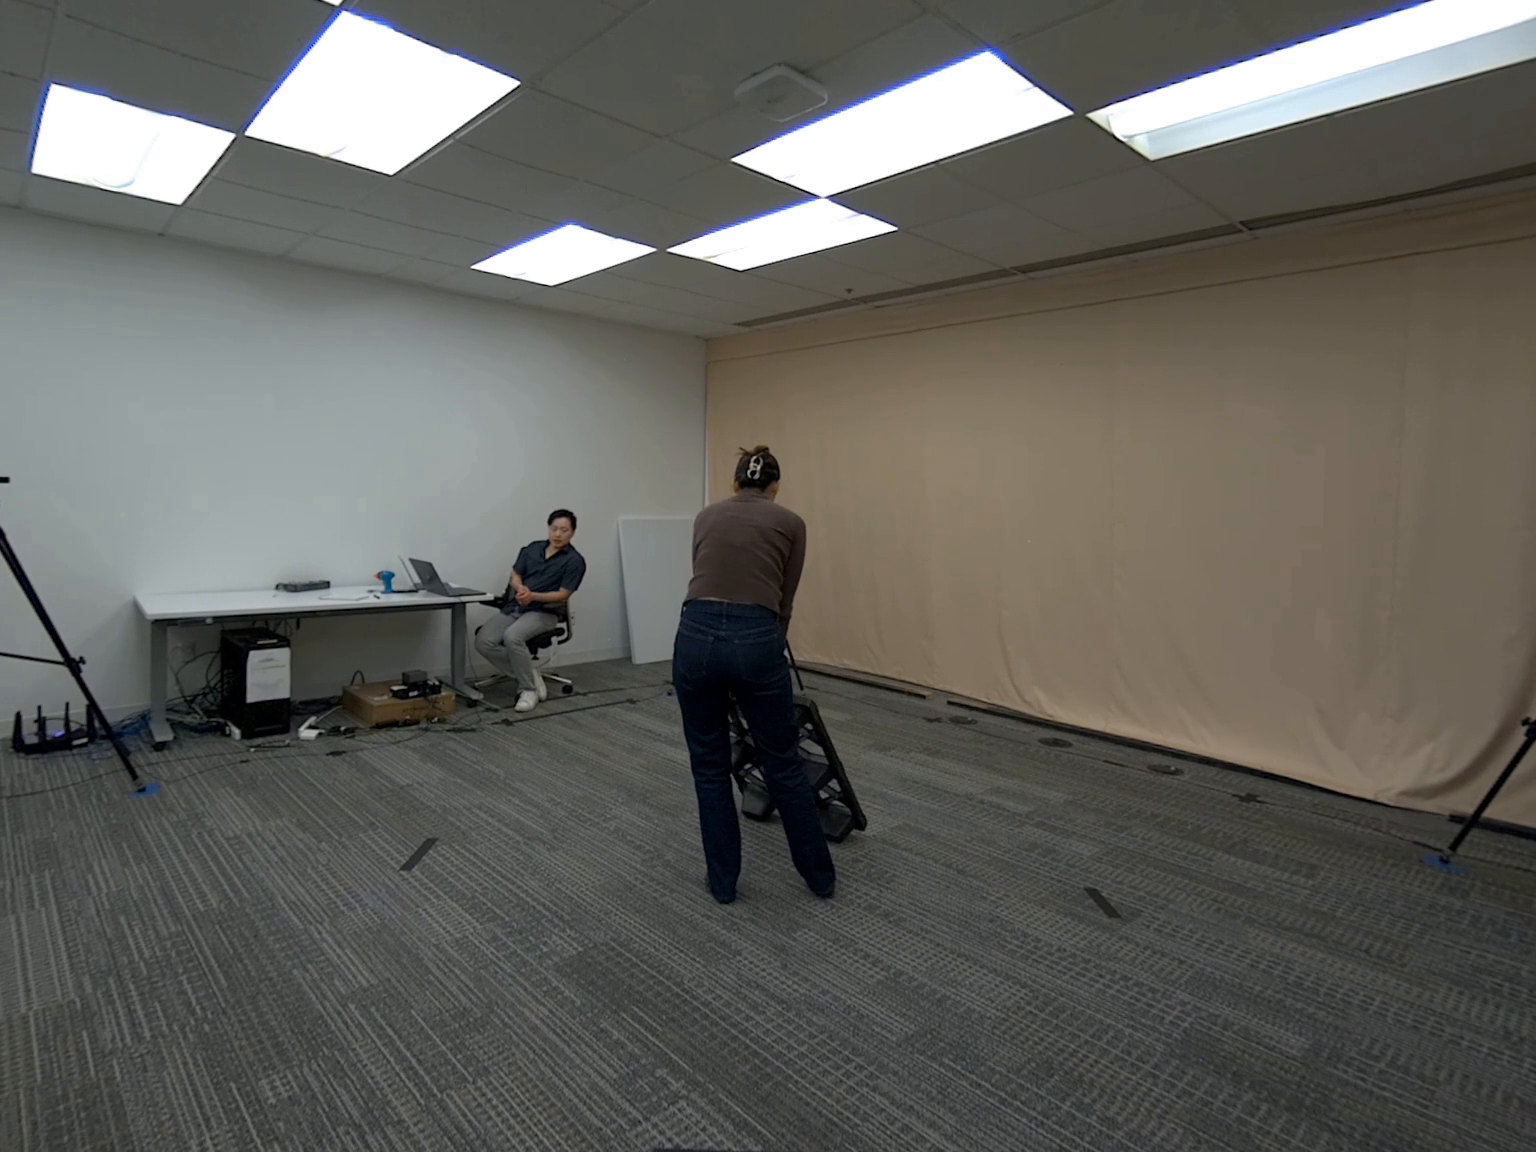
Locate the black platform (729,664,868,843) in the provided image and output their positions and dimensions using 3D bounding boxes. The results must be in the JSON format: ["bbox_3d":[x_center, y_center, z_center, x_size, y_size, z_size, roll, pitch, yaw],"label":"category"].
[{"bbox_3d":[0.000,0.751,3.381,0.619,0.783,0.144,4,43,33],"label":"black platform"}]
